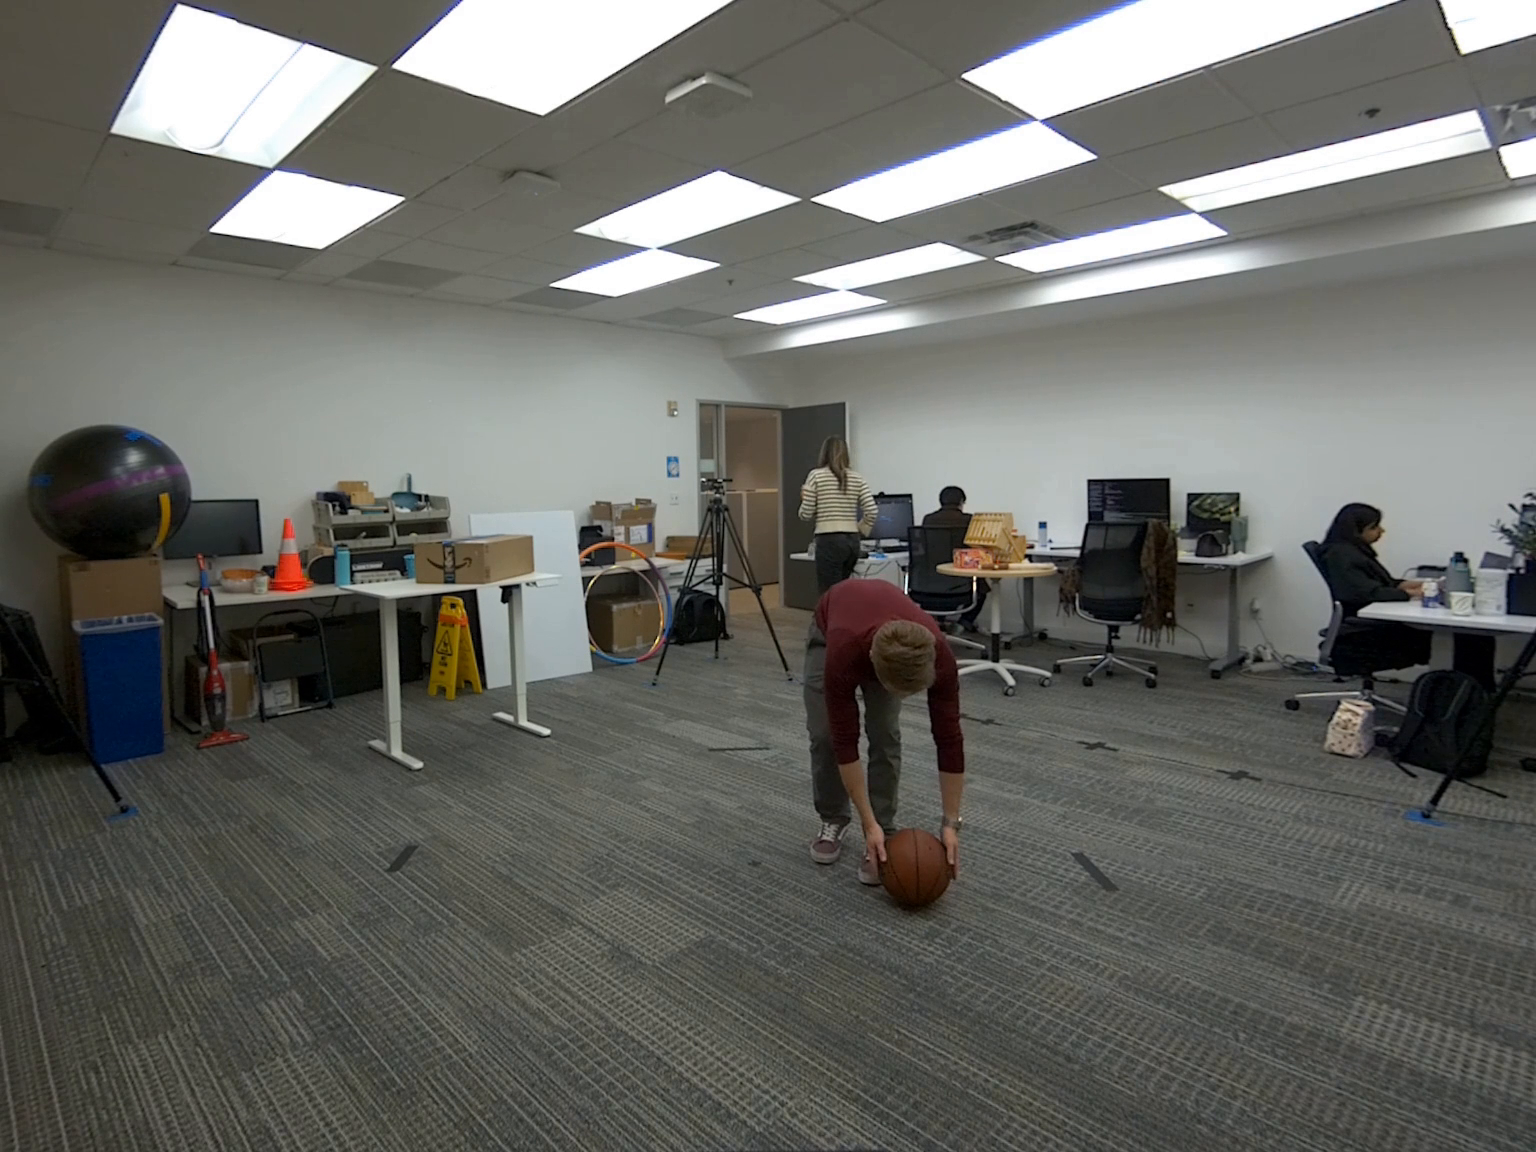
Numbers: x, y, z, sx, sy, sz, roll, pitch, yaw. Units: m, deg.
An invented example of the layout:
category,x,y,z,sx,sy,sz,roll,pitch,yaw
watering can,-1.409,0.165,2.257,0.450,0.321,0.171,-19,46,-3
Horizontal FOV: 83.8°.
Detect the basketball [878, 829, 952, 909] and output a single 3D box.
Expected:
category,x,y,z,sx,sy,sz,roll,pitch,yaw
basketball,0.480,0.945,2.797,0.236,0.235,0.237,-1,5,-2
